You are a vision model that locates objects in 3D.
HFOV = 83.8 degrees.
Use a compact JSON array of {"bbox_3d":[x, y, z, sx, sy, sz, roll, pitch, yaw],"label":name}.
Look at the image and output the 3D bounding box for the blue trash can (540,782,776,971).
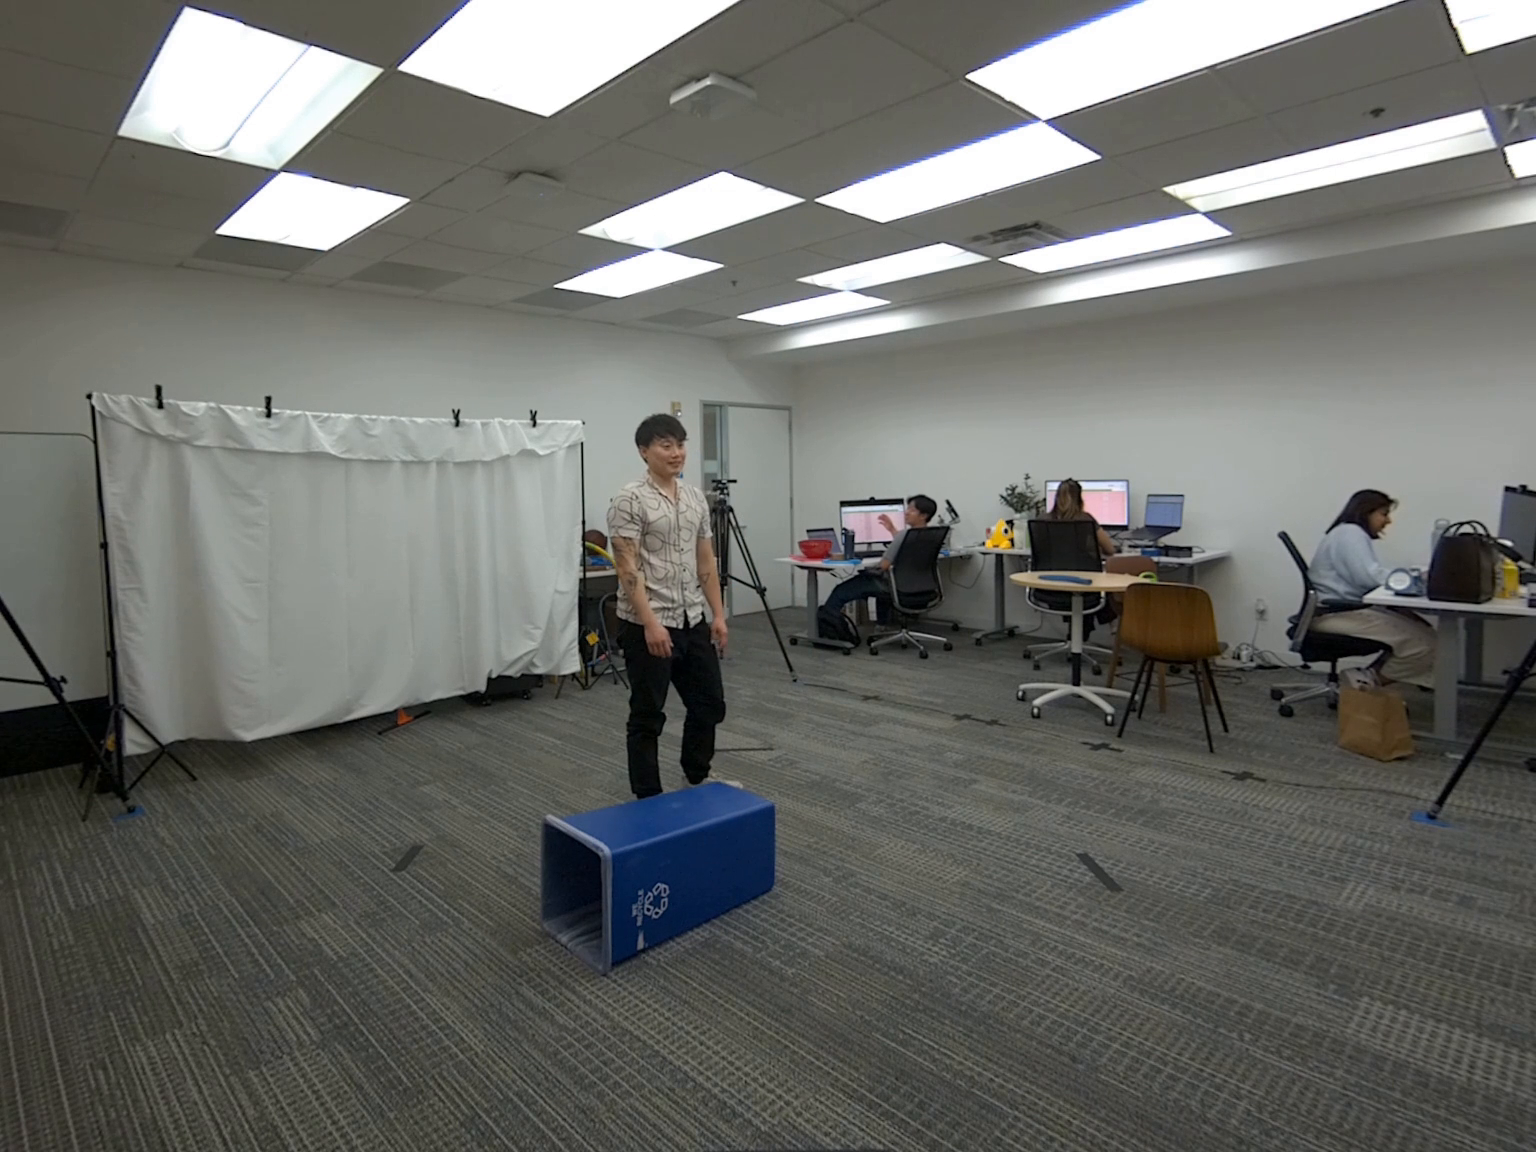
[{"bbox_3d":[-0.328,0.922,2.775,0.694,0.377,0.385,-4,5,-42],"label":"blue trash can"}]
